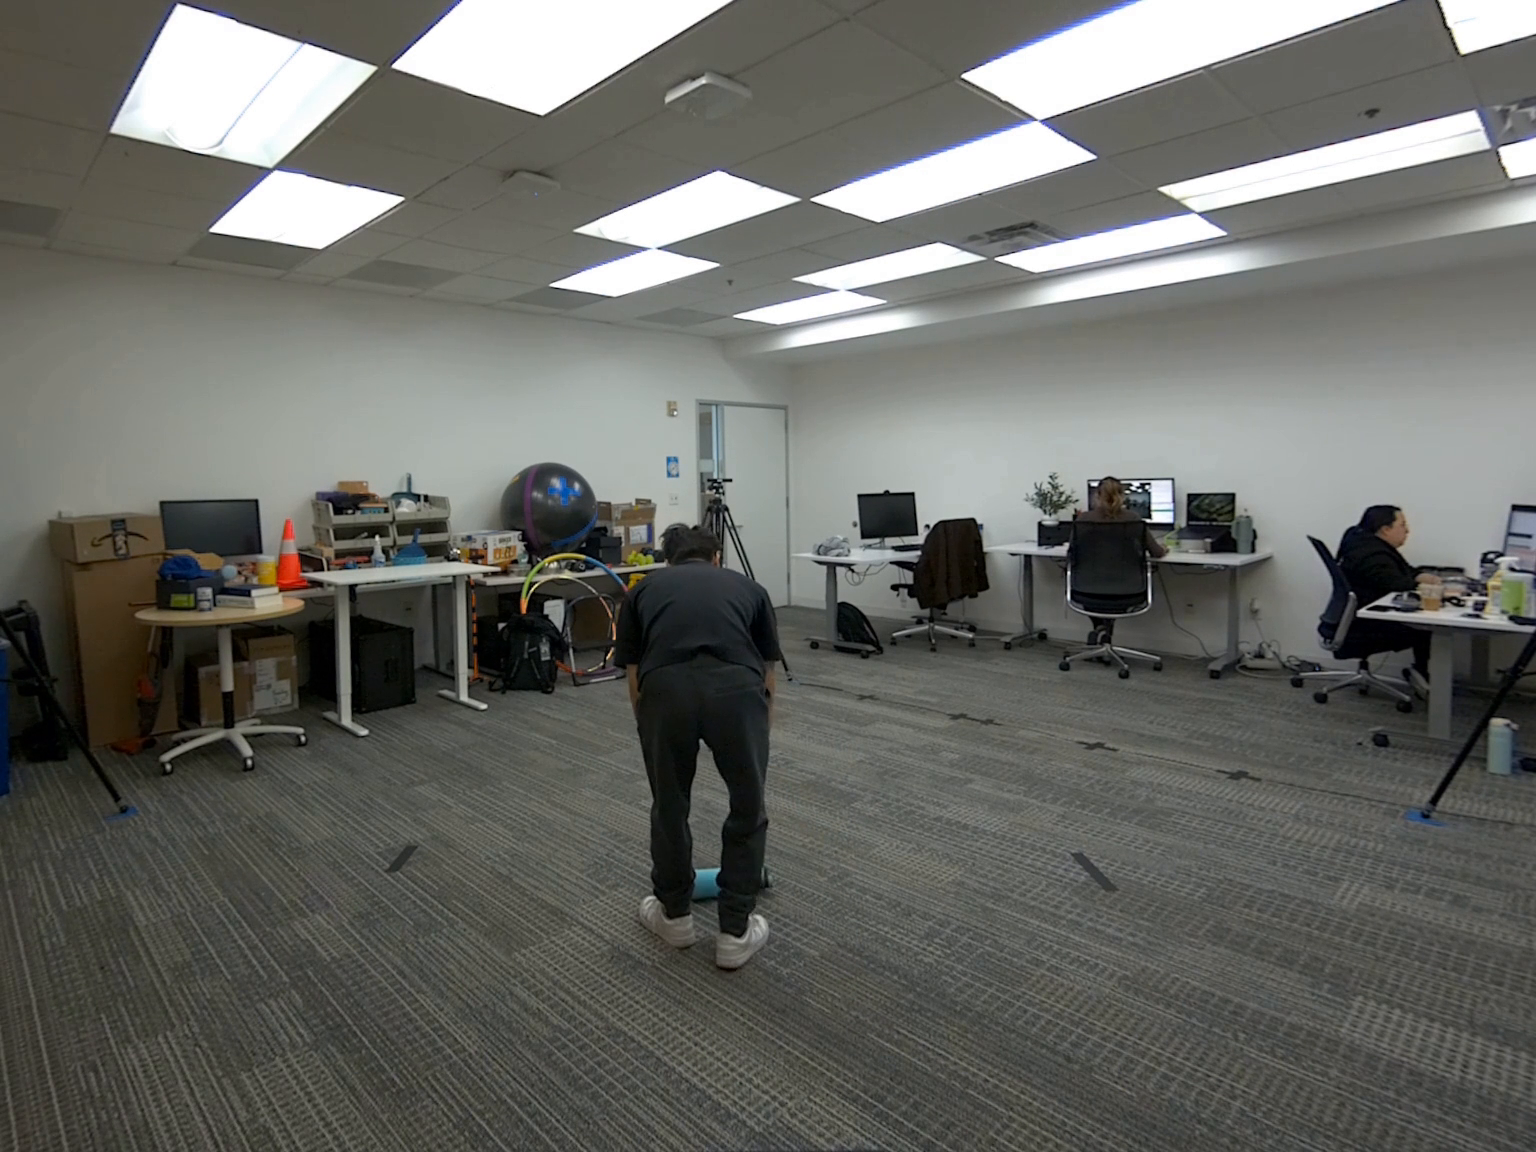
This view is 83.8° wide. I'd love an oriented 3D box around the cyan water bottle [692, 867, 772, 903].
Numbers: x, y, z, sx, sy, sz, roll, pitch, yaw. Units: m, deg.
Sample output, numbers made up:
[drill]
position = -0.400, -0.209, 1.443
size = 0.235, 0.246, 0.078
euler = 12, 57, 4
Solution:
[cyan water bottle]
position = -0.122, 1.029, 2.879
size = 0.281, 0.092, 0.093
euler = -2, 5, -9
